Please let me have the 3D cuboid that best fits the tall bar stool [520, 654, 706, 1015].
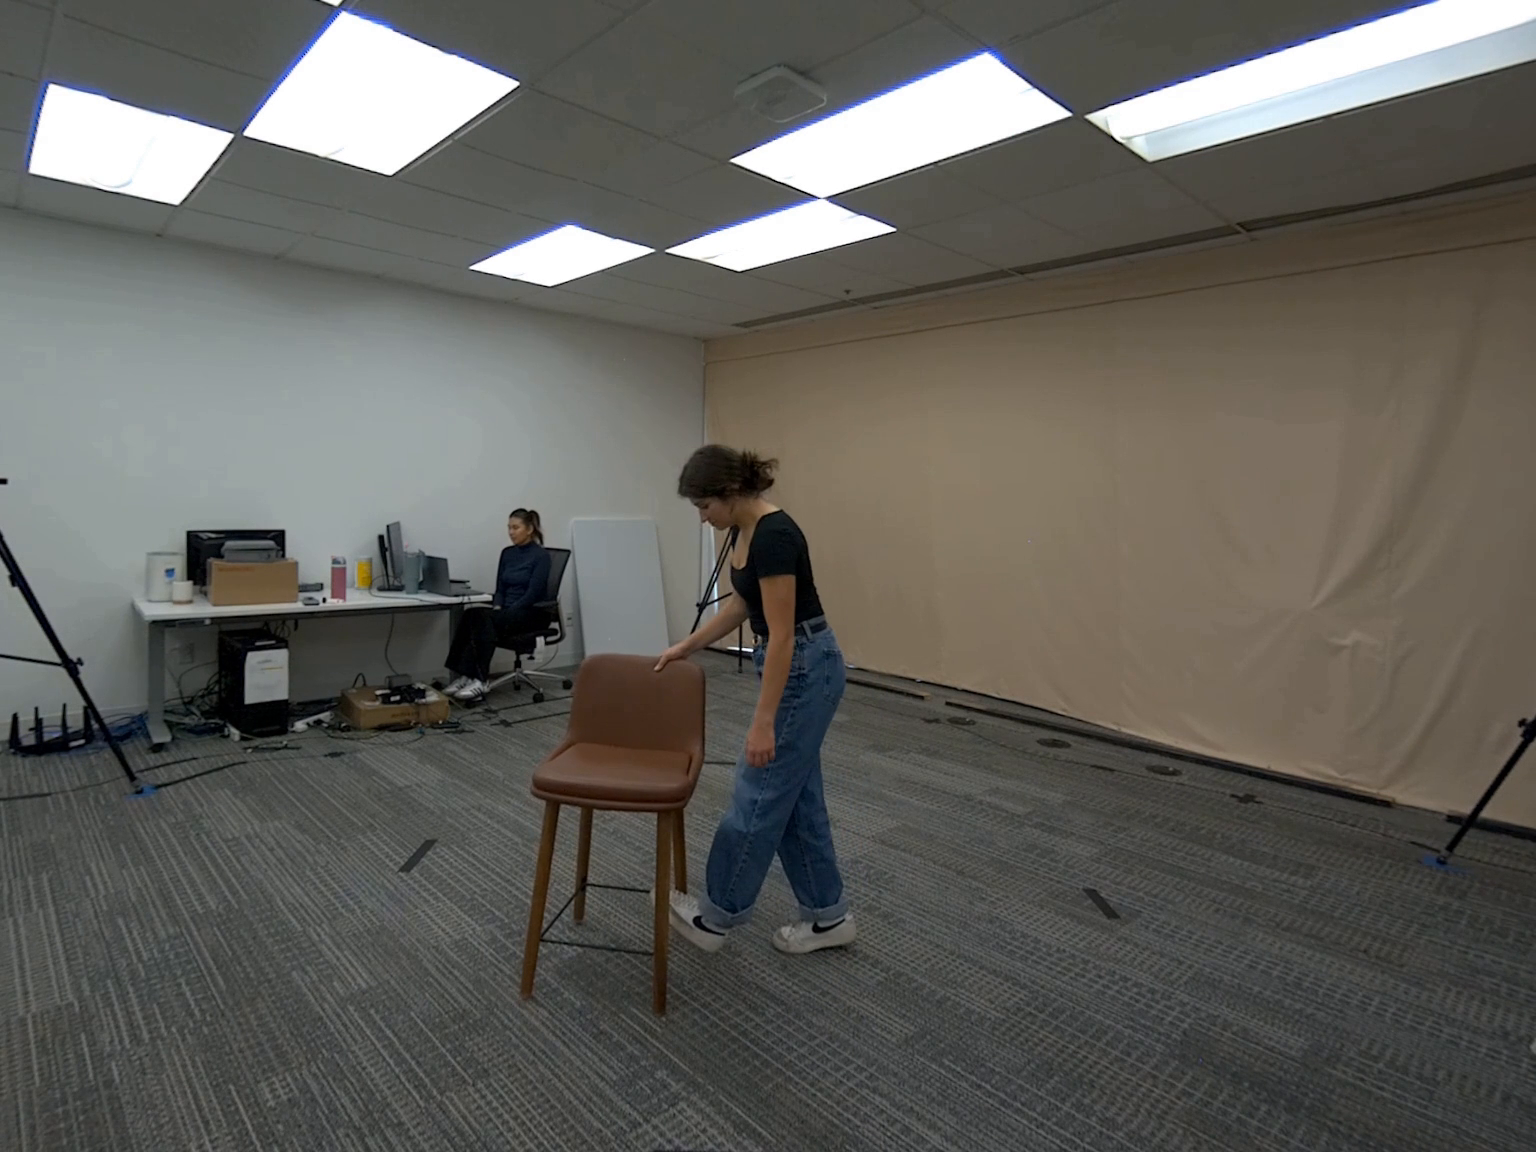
[{"bbox_3d":[-0.442,0.715,2.486,0.459,0.889,0.465,3,1,7],"label":"tall bar stool"}]
